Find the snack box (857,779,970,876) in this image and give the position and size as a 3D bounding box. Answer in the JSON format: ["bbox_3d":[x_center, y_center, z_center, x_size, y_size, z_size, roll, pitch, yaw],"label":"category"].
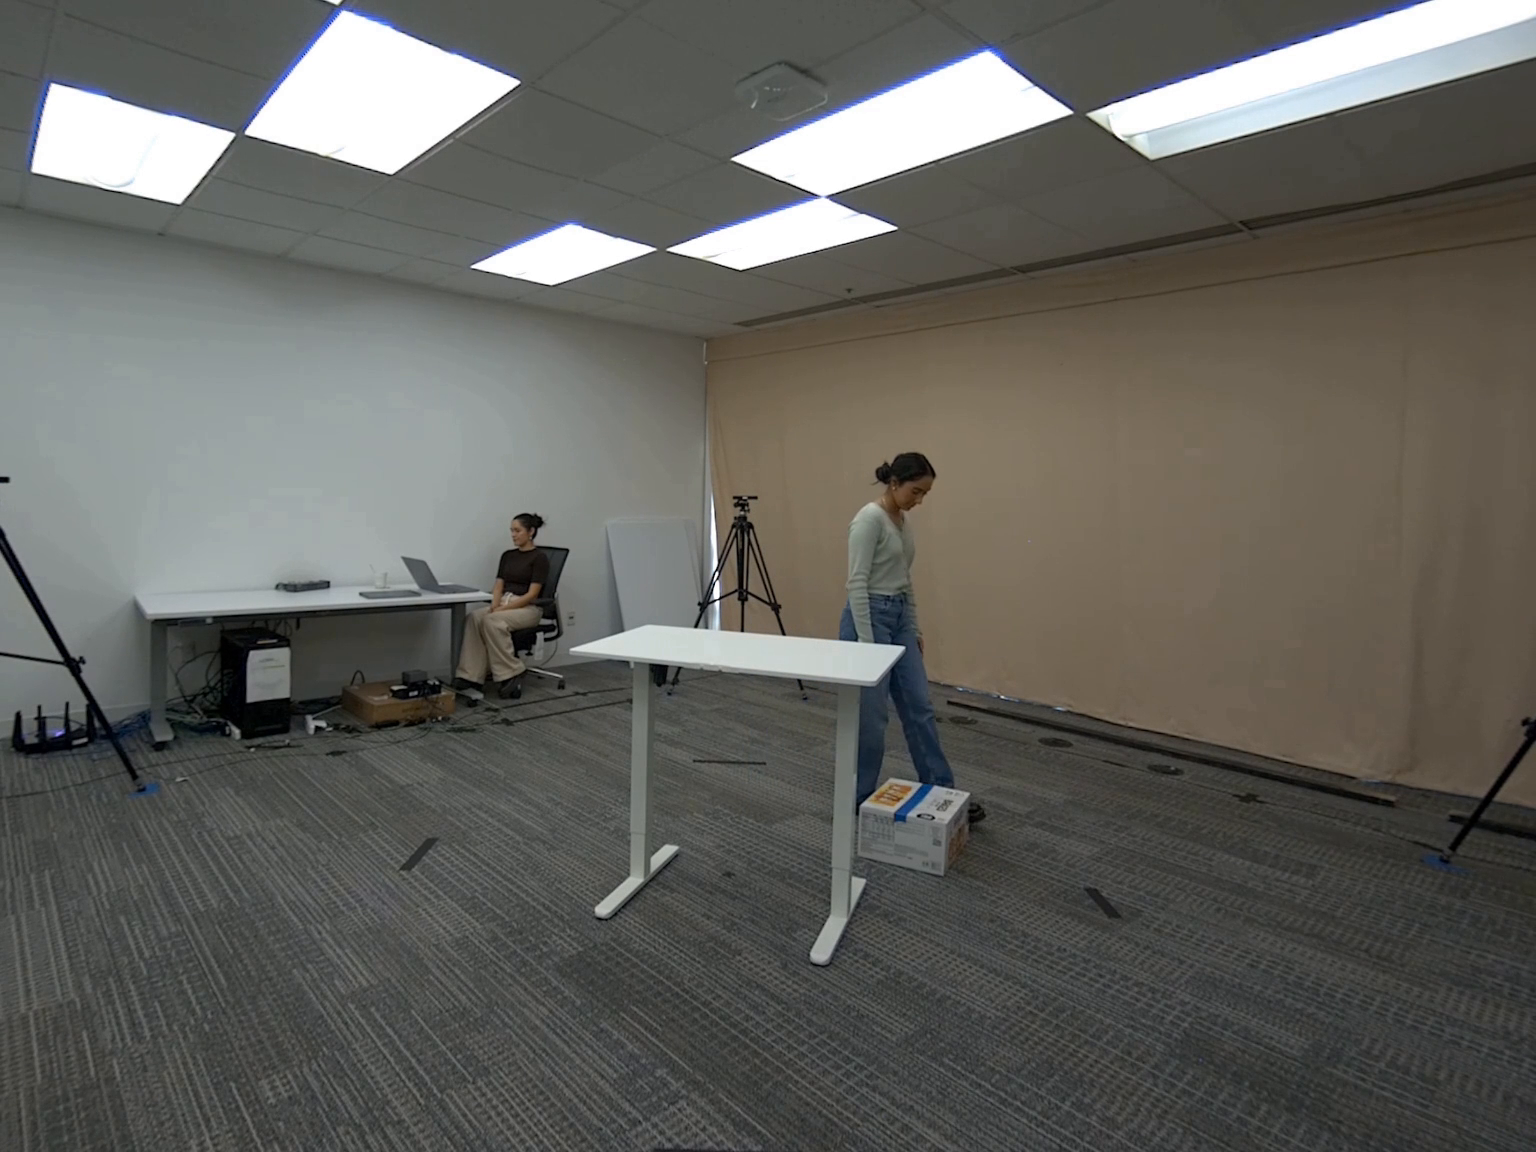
[{"bbox_3d":[0.585,0.996,3.377,0.347,0.205,0.398,3,5,27],"label":"snack box"}]
